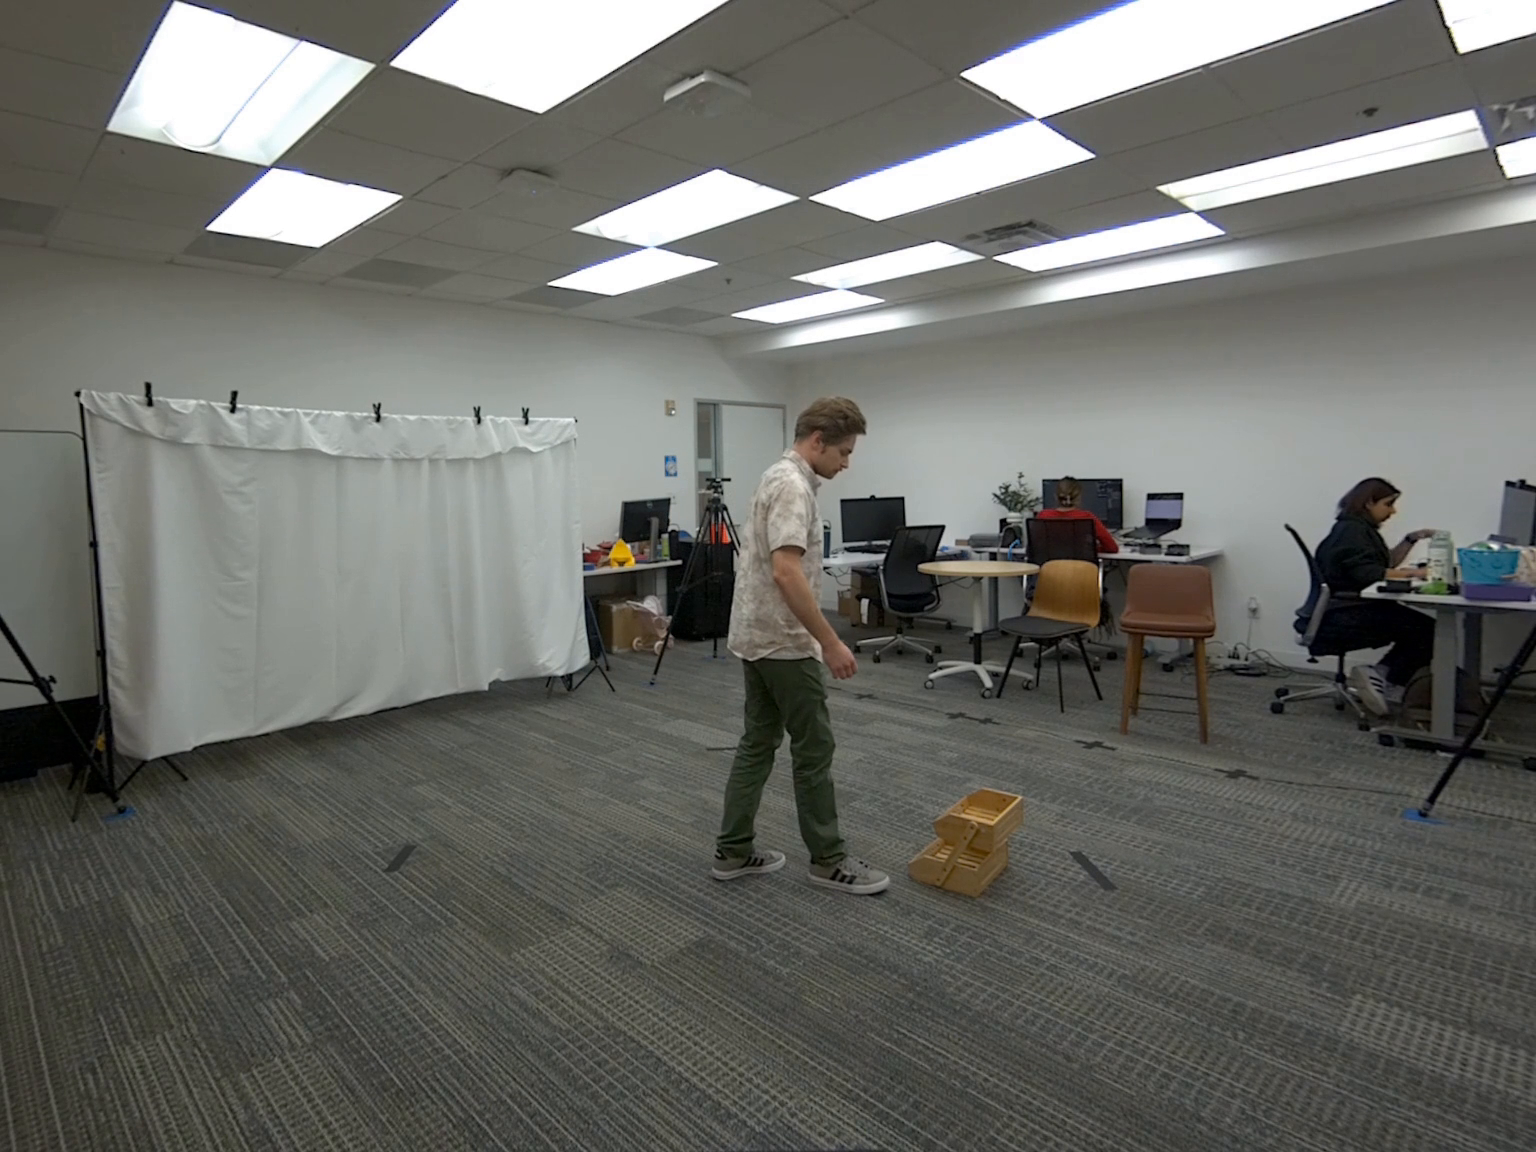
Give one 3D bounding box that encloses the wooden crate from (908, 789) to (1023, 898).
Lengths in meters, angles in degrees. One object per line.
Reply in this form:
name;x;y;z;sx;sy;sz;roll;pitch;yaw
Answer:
wooden crate;0.688;0.905;2.987;0.311;0.272;0.316;4;7;35
